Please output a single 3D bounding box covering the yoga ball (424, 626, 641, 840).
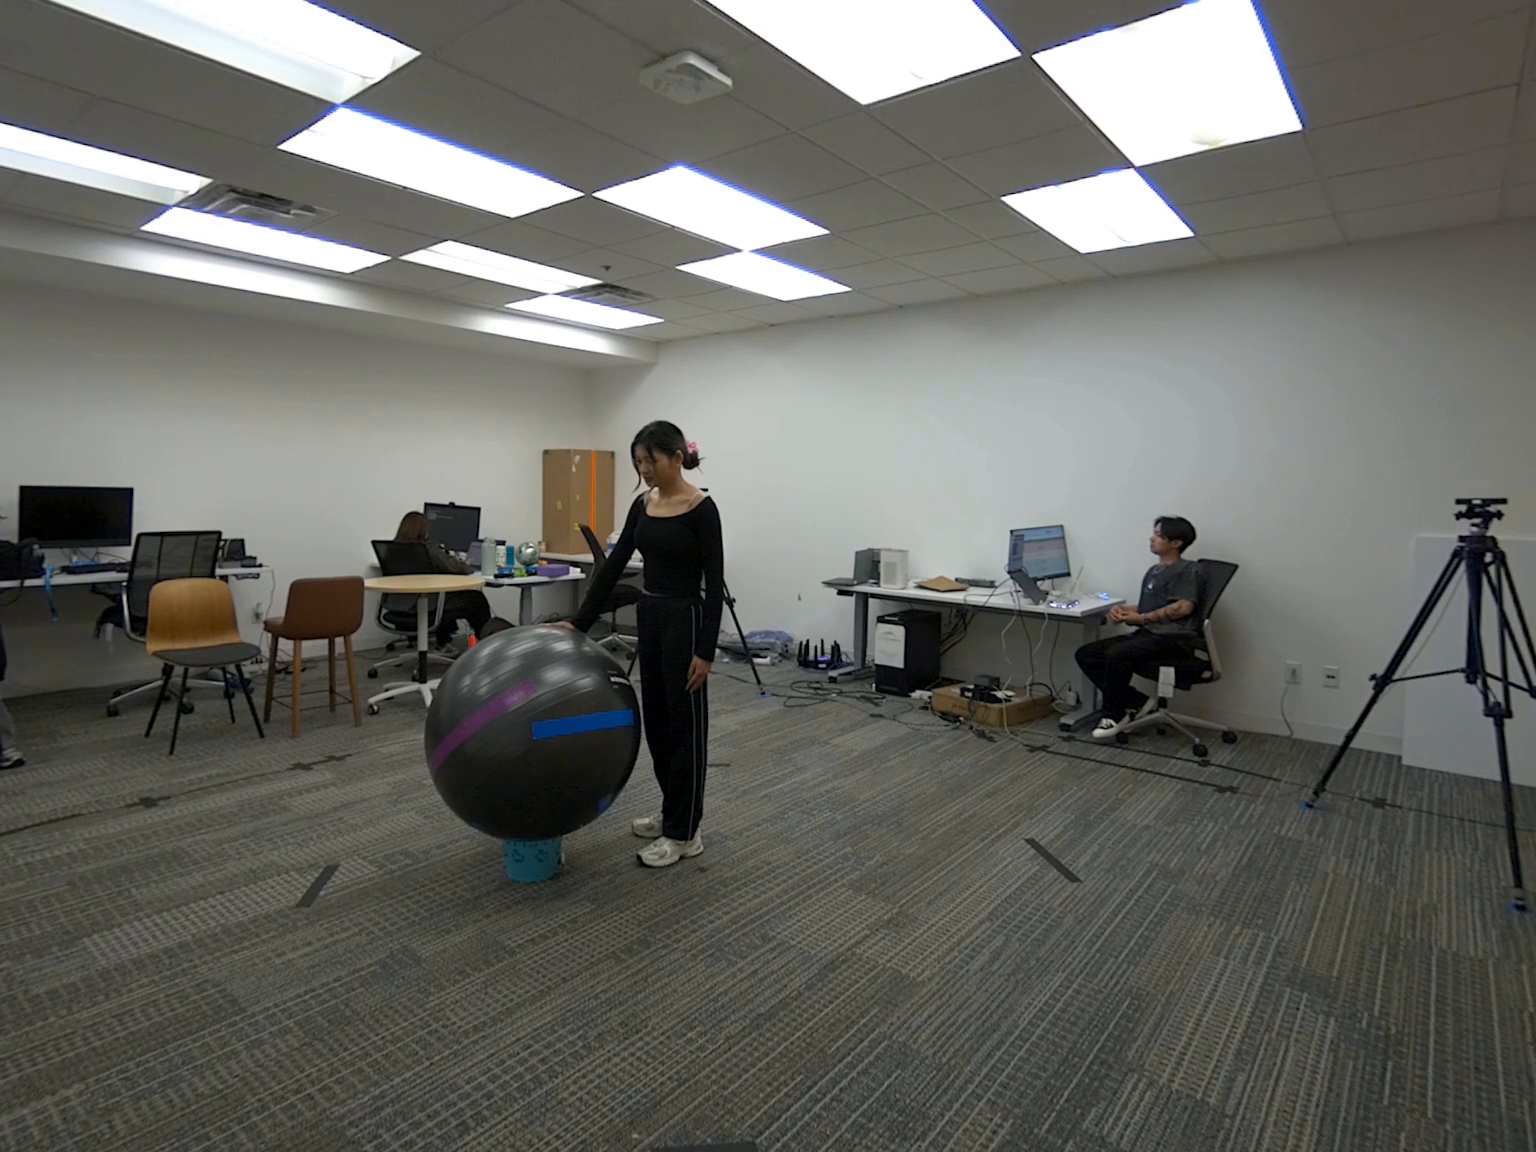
[{"bbox_3d":[-0.859,0.559,3.048,0.757,0.756,0.762,1,4,-2],"label":"yoga ball"}]
